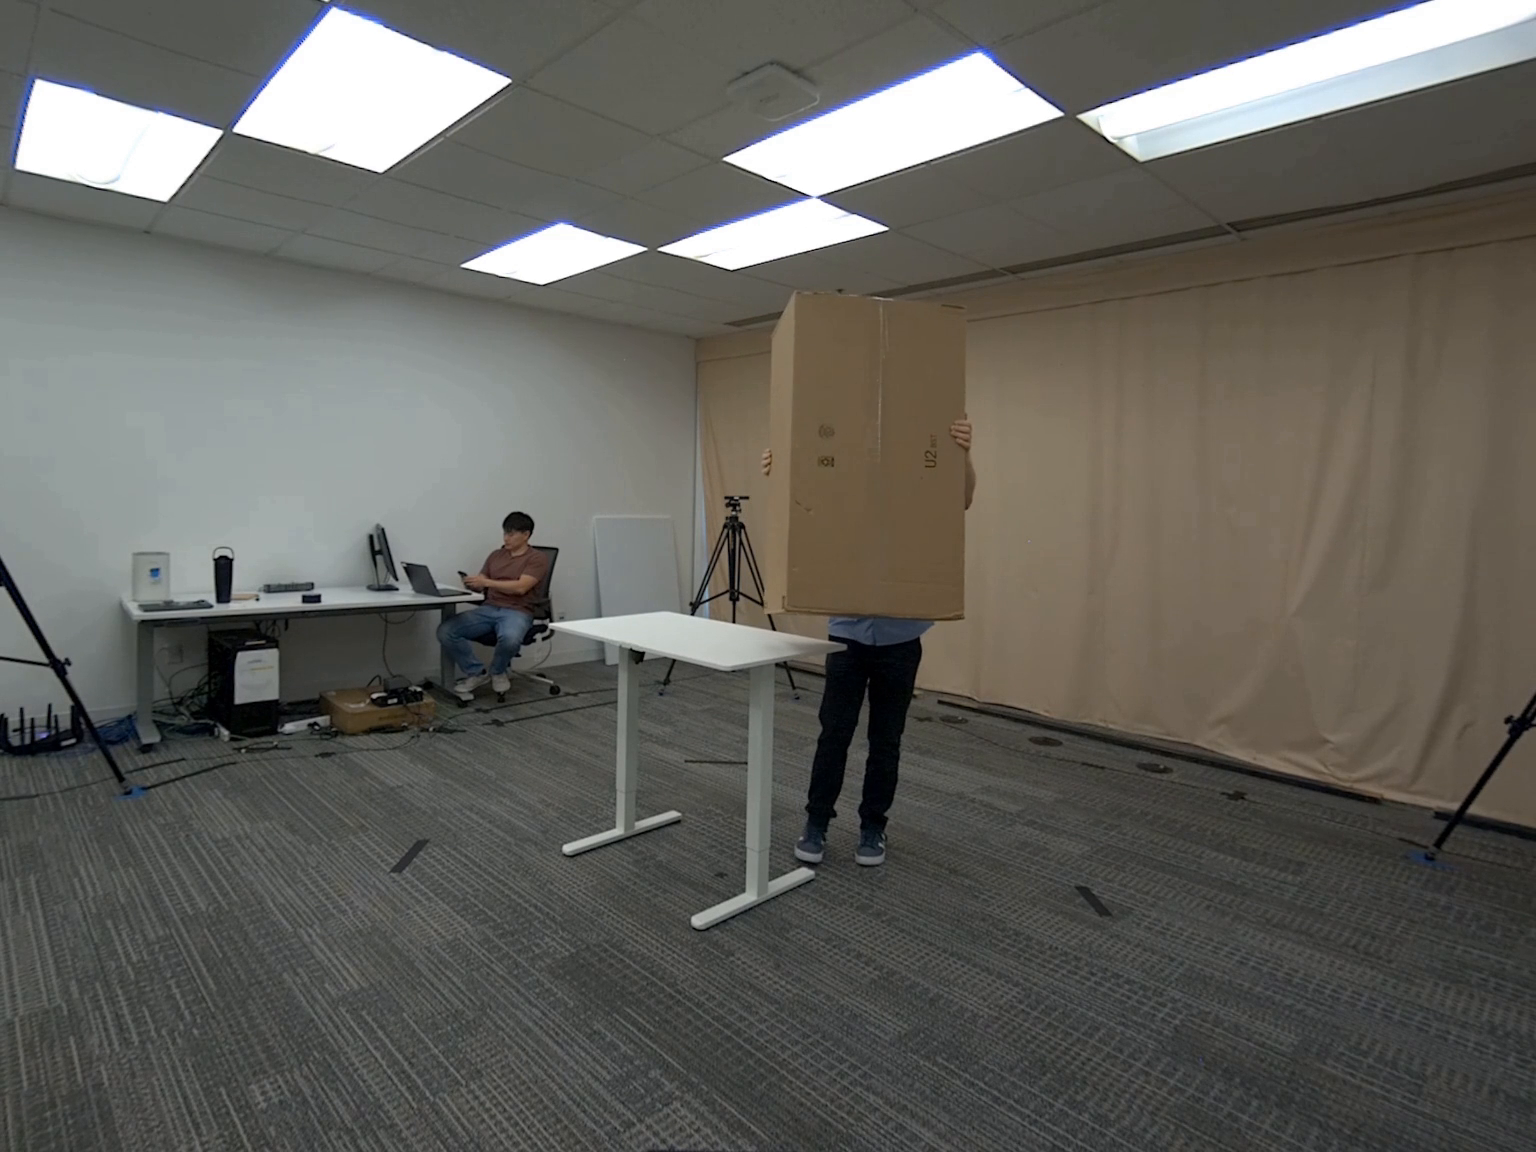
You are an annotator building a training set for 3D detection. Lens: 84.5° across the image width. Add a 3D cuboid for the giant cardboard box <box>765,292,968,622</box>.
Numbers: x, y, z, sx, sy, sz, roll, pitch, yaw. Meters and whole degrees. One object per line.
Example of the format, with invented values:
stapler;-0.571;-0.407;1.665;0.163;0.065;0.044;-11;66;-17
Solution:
giant cardboard box;0.310;-0.367;2.855;0.574;1.030;0.427;2;-6;-7
